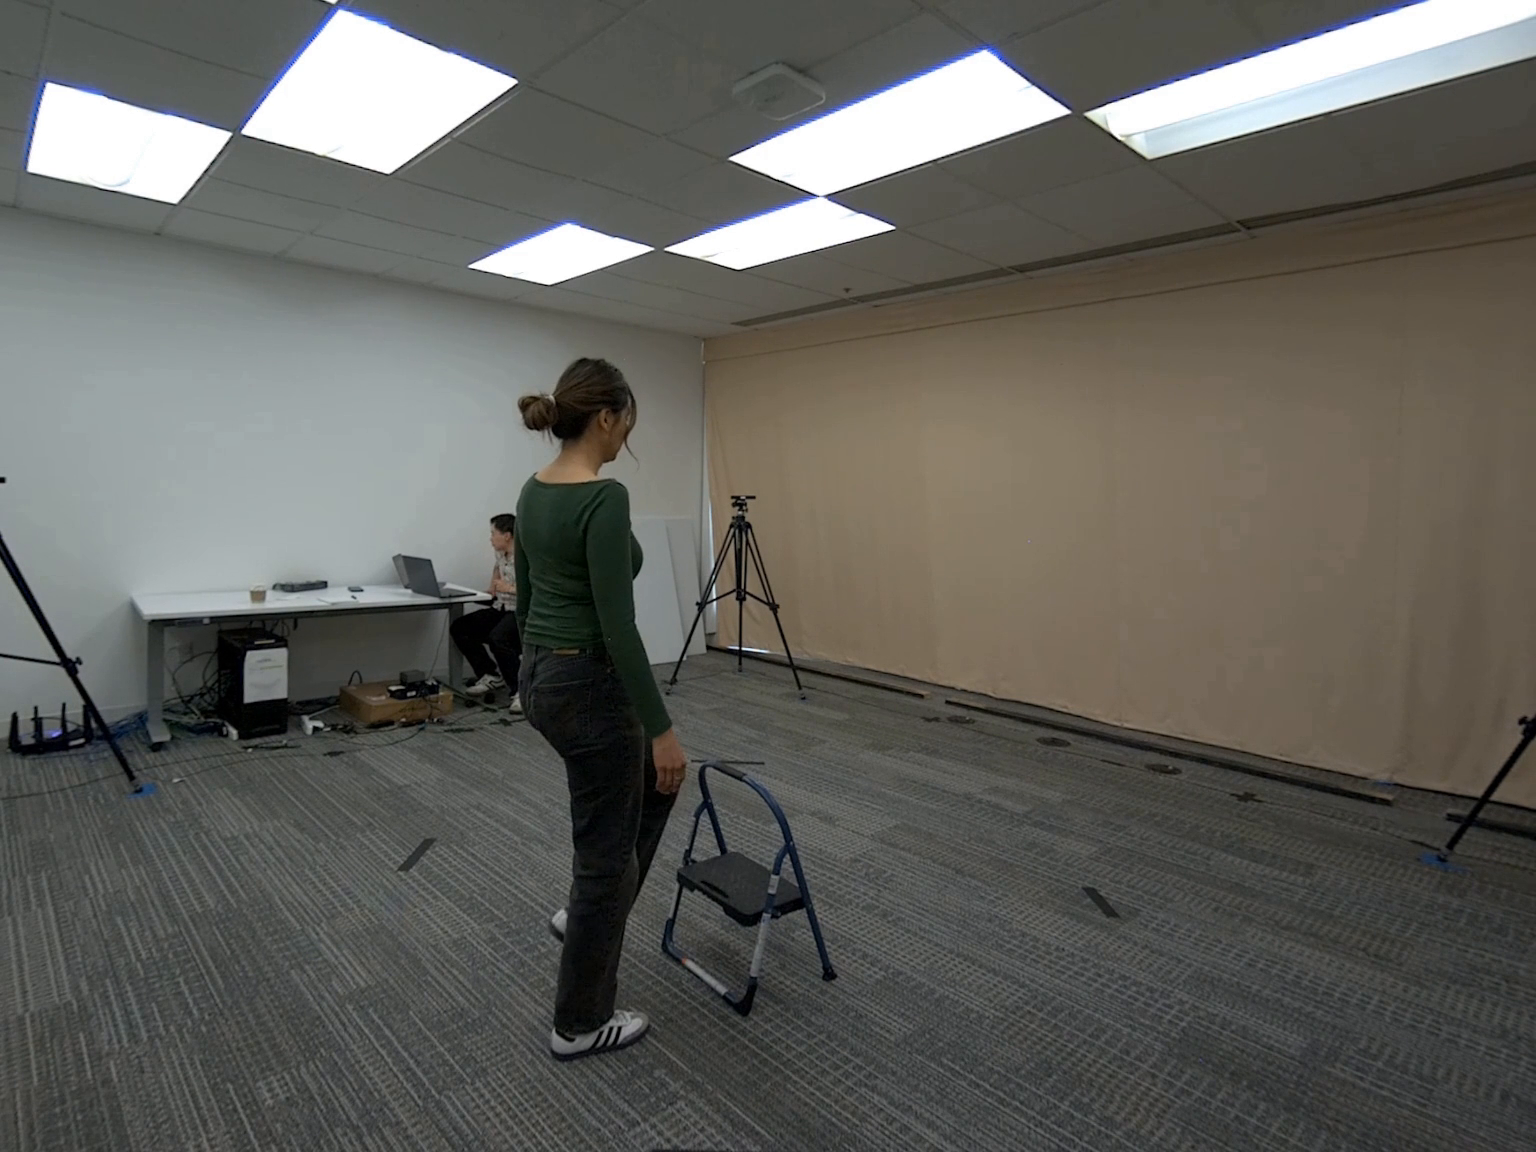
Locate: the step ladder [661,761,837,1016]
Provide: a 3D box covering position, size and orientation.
[{"bbox_3d":[-0.063,0.857,2.497,0.341,0.604,0.441,-2,5,-40],"label":"step ladder"}]
